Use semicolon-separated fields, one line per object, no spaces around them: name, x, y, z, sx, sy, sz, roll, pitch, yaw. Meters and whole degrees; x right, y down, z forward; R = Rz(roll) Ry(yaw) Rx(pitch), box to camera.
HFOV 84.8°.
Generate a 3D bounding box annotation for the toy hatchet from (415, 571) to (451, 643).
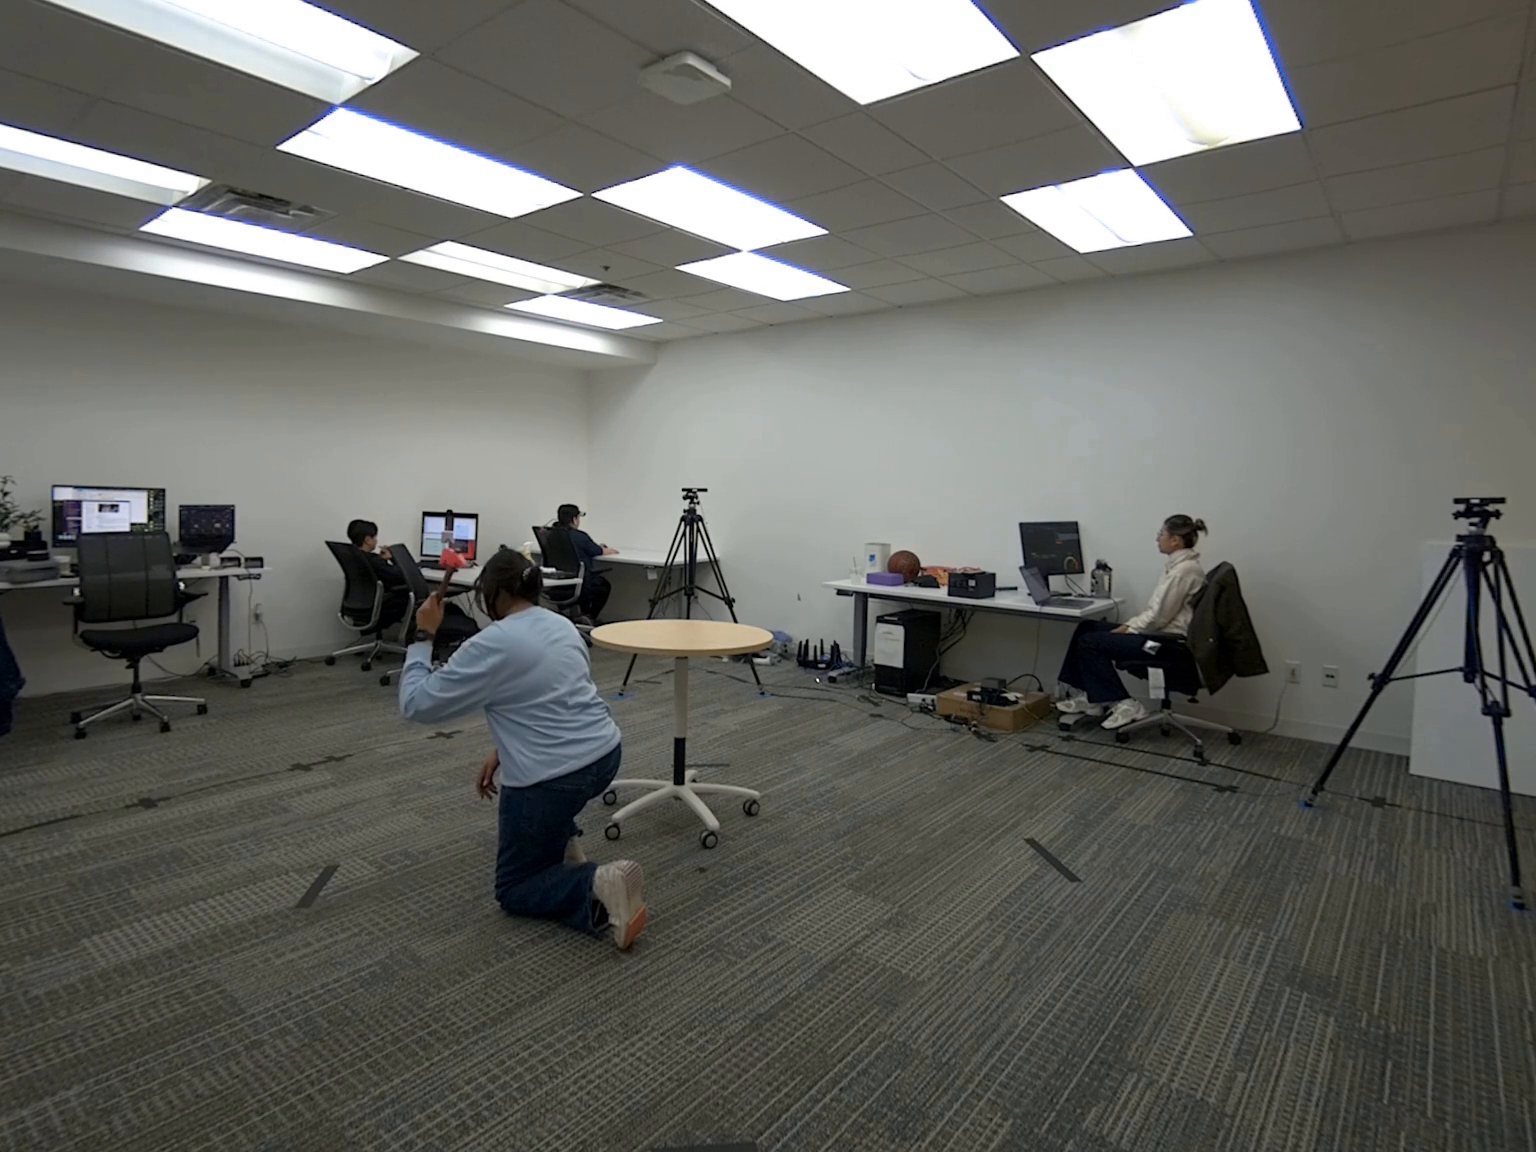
toy hatchet;-0.991;0.073;2.747;0.130;0.271;0.029;-34;-3;-11
